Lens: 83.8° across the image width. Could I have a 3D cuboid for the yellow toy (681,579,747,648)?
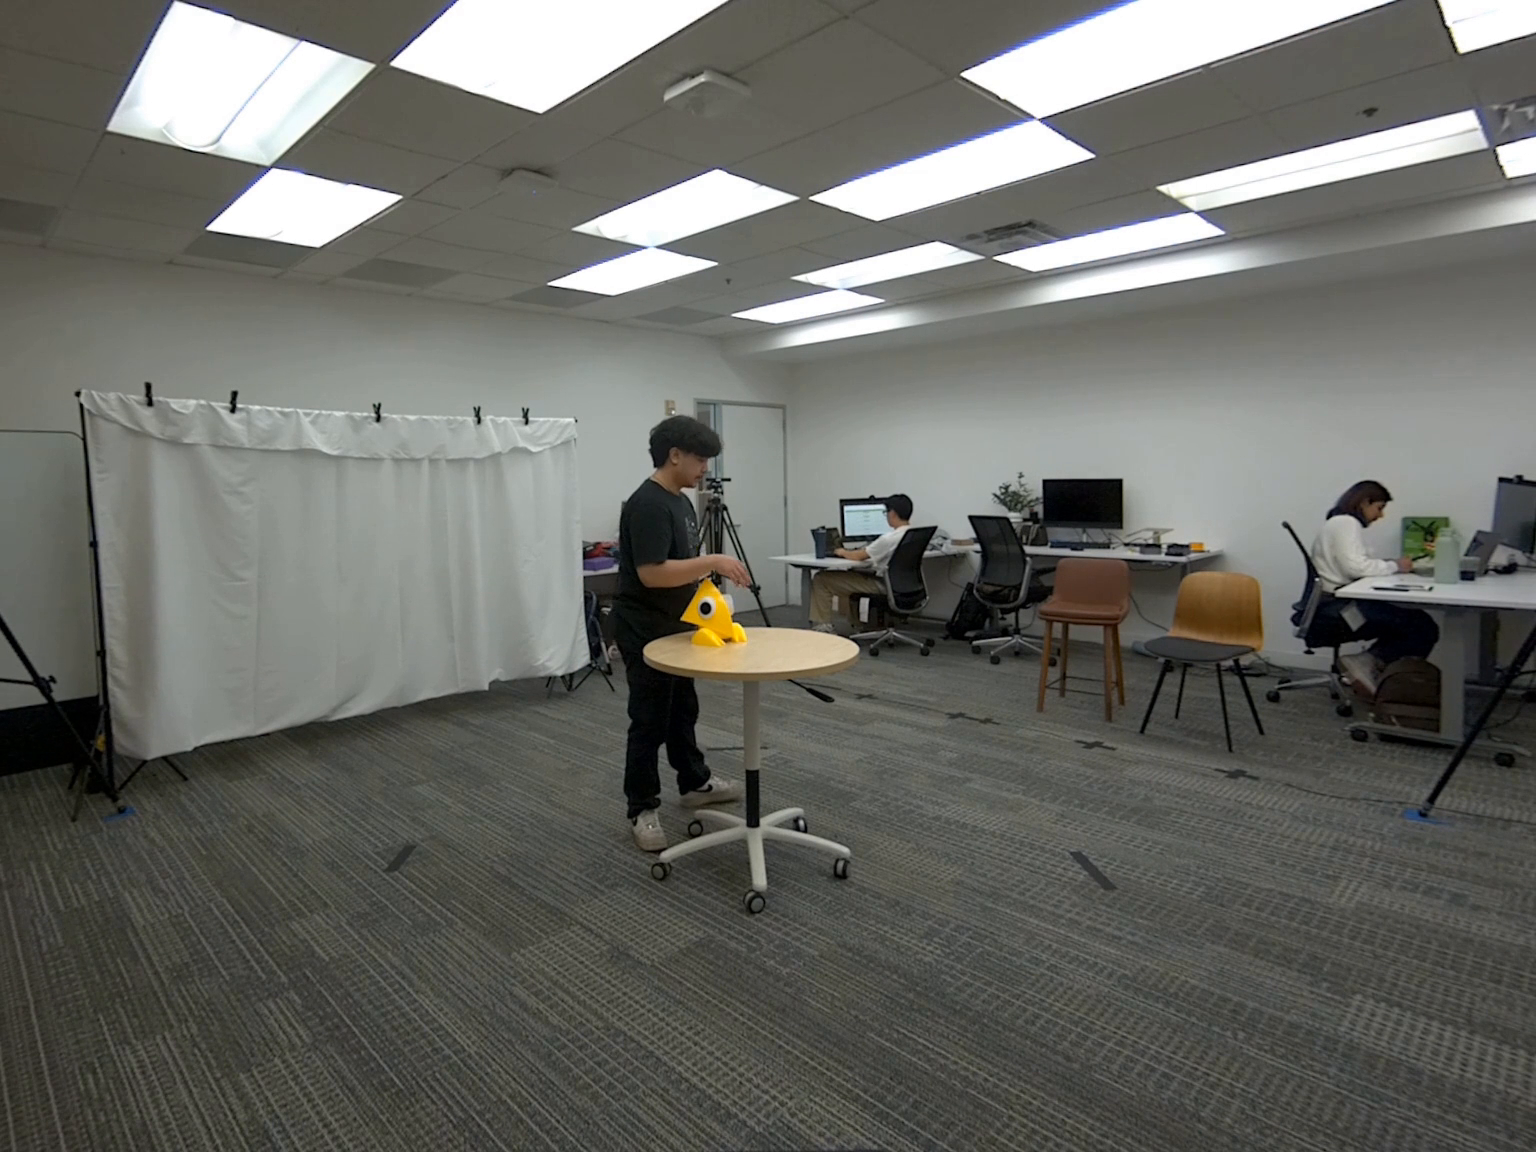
[{"bbox_3d":[-0.183,0.128,3.172,0.199,0.230,0.199,-3,6,-42],"label":"yellow toy"}]
